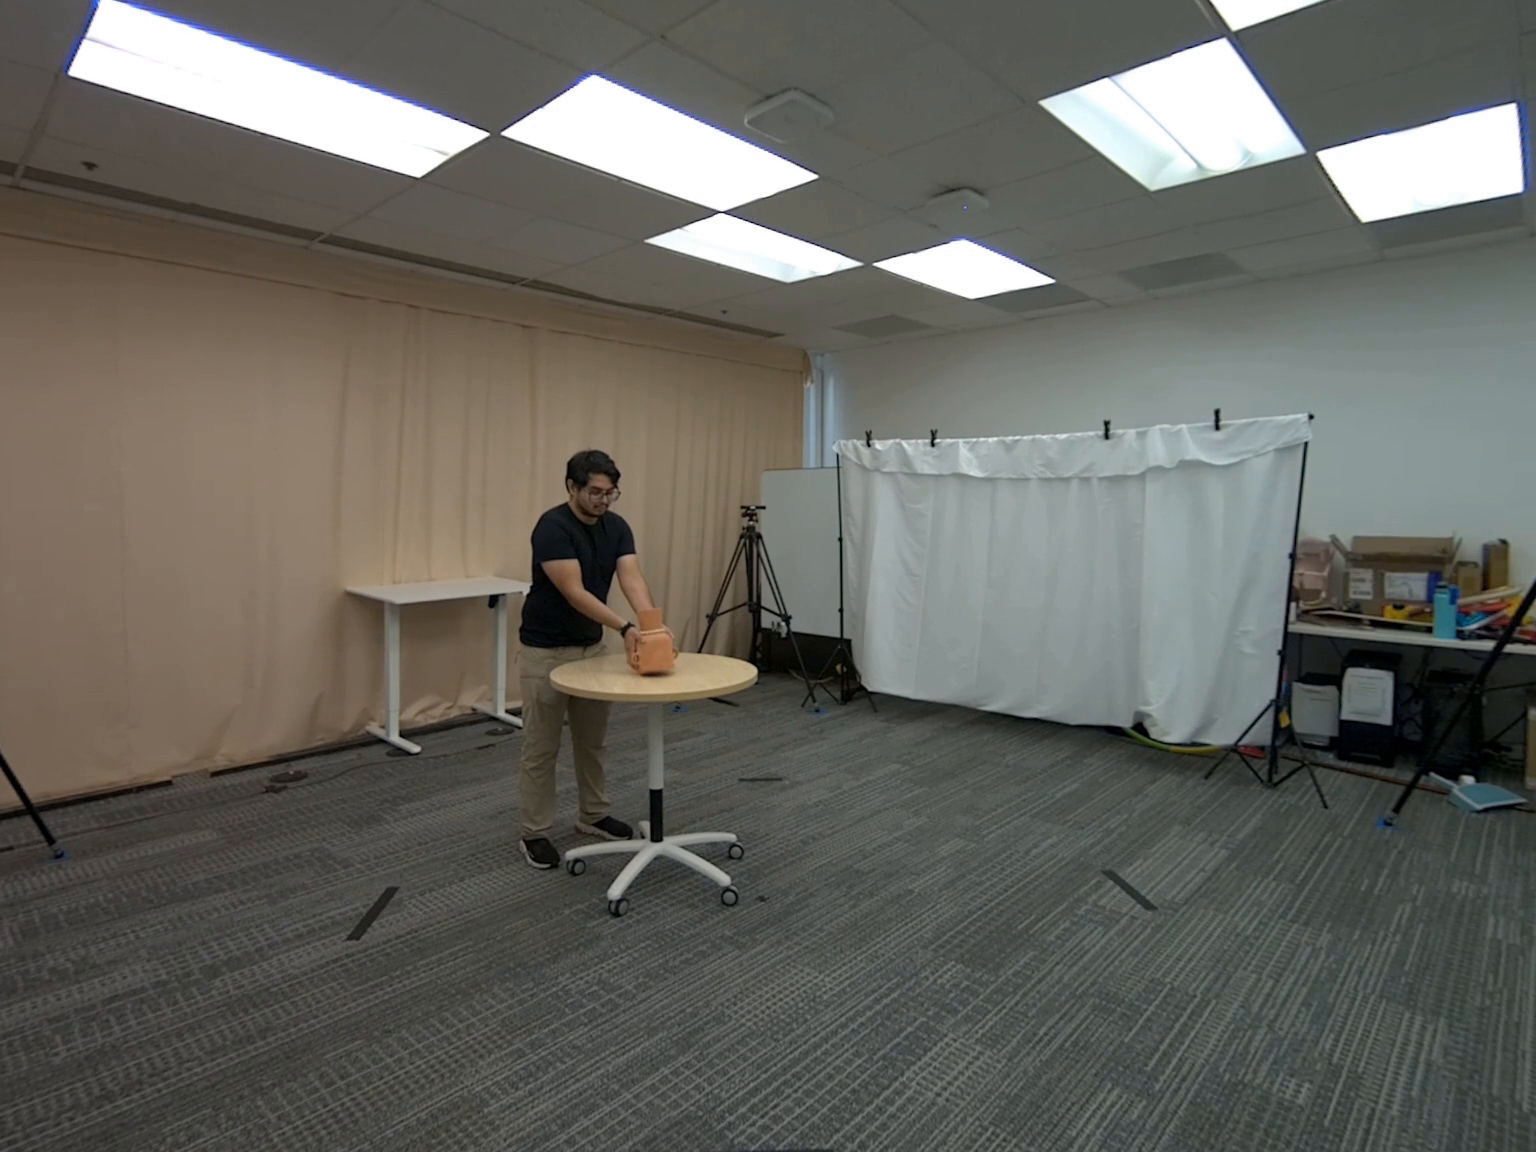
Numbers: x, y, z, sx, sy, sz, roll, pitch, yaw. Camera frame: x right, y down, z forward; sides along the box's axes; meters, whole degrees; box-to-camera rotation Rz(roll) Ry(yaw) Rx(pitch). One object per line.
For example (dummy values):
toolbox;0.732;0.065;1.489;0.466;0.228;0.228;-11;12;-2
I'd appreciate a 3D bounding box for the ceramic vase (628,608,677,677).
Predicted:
ceramic vase;-0.418;0.230;3.072;0.137;0.220;0.155;-9;-5;19
